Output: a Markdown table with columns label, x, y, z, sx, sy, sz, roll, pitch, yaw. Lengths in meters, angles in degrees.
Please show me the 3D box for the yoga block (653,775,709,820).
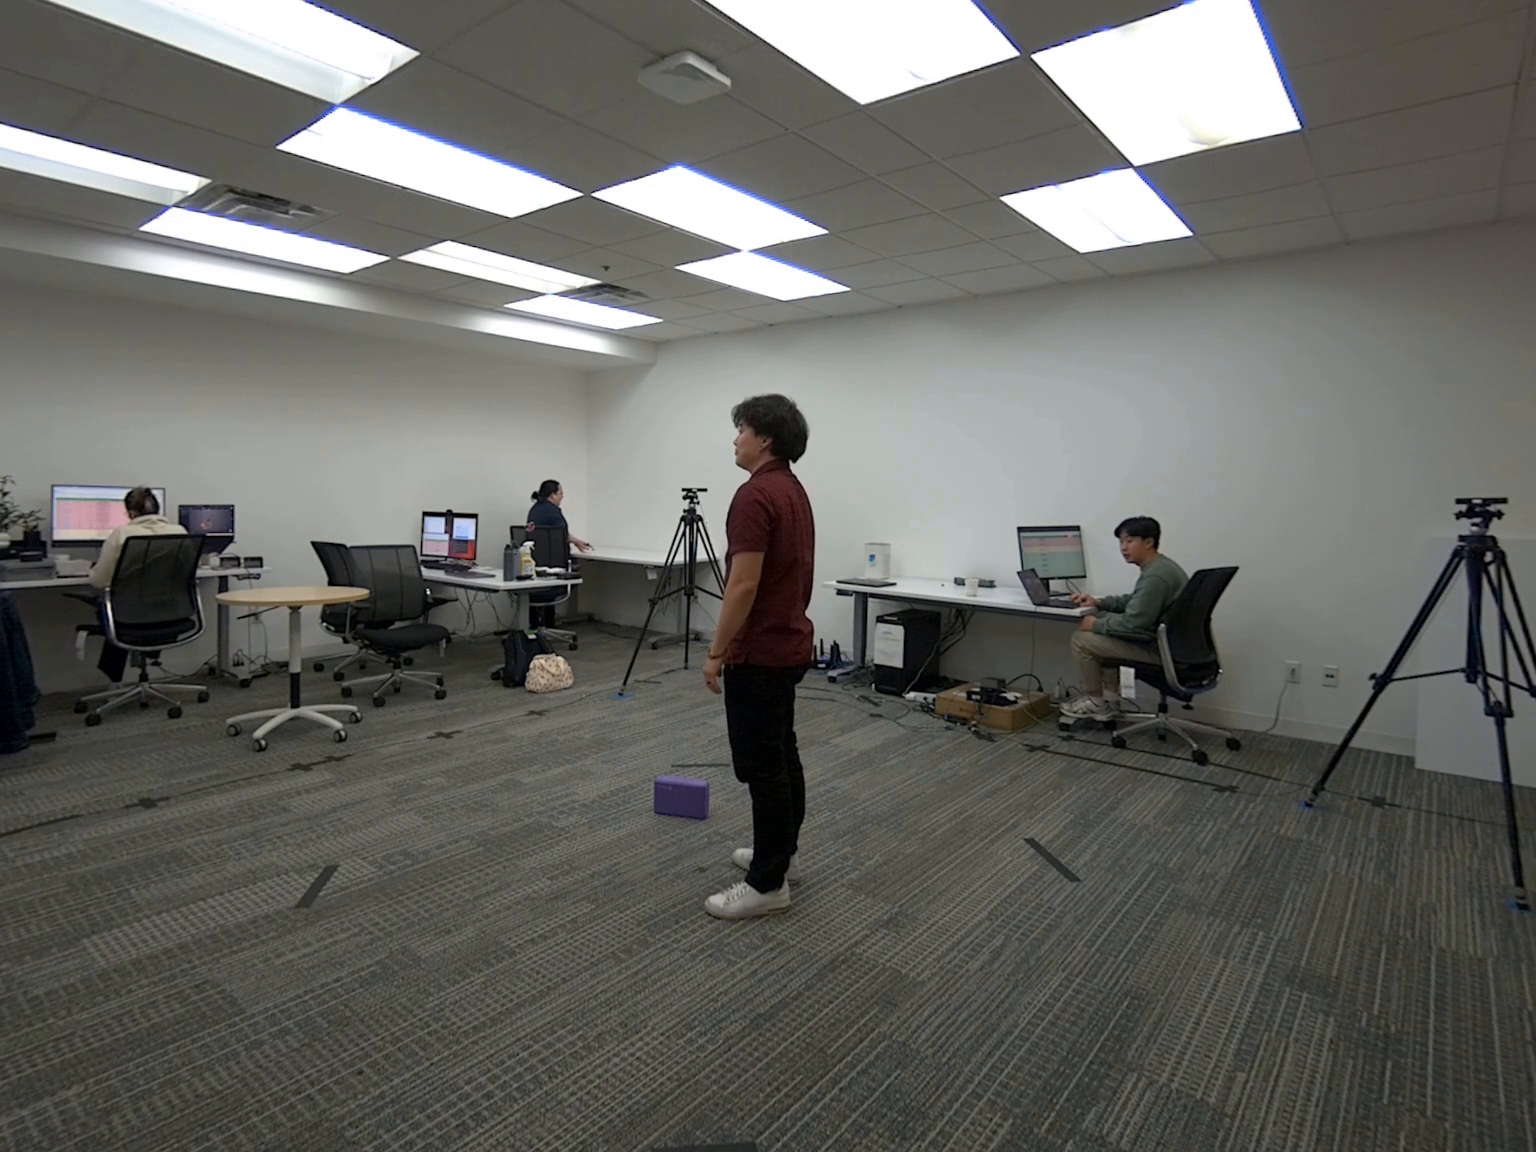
| label | x | y | z | sx | sy | sz | roll | pitch | yaw |
| --- | --- | --- | --- | --- | --- | --- | --- | --- | --- |
| yoga block | -0.383 | 0.937 | 3.633 | 0.233 | 0.148 | 0.075 | 3 | 3 | 15 |
